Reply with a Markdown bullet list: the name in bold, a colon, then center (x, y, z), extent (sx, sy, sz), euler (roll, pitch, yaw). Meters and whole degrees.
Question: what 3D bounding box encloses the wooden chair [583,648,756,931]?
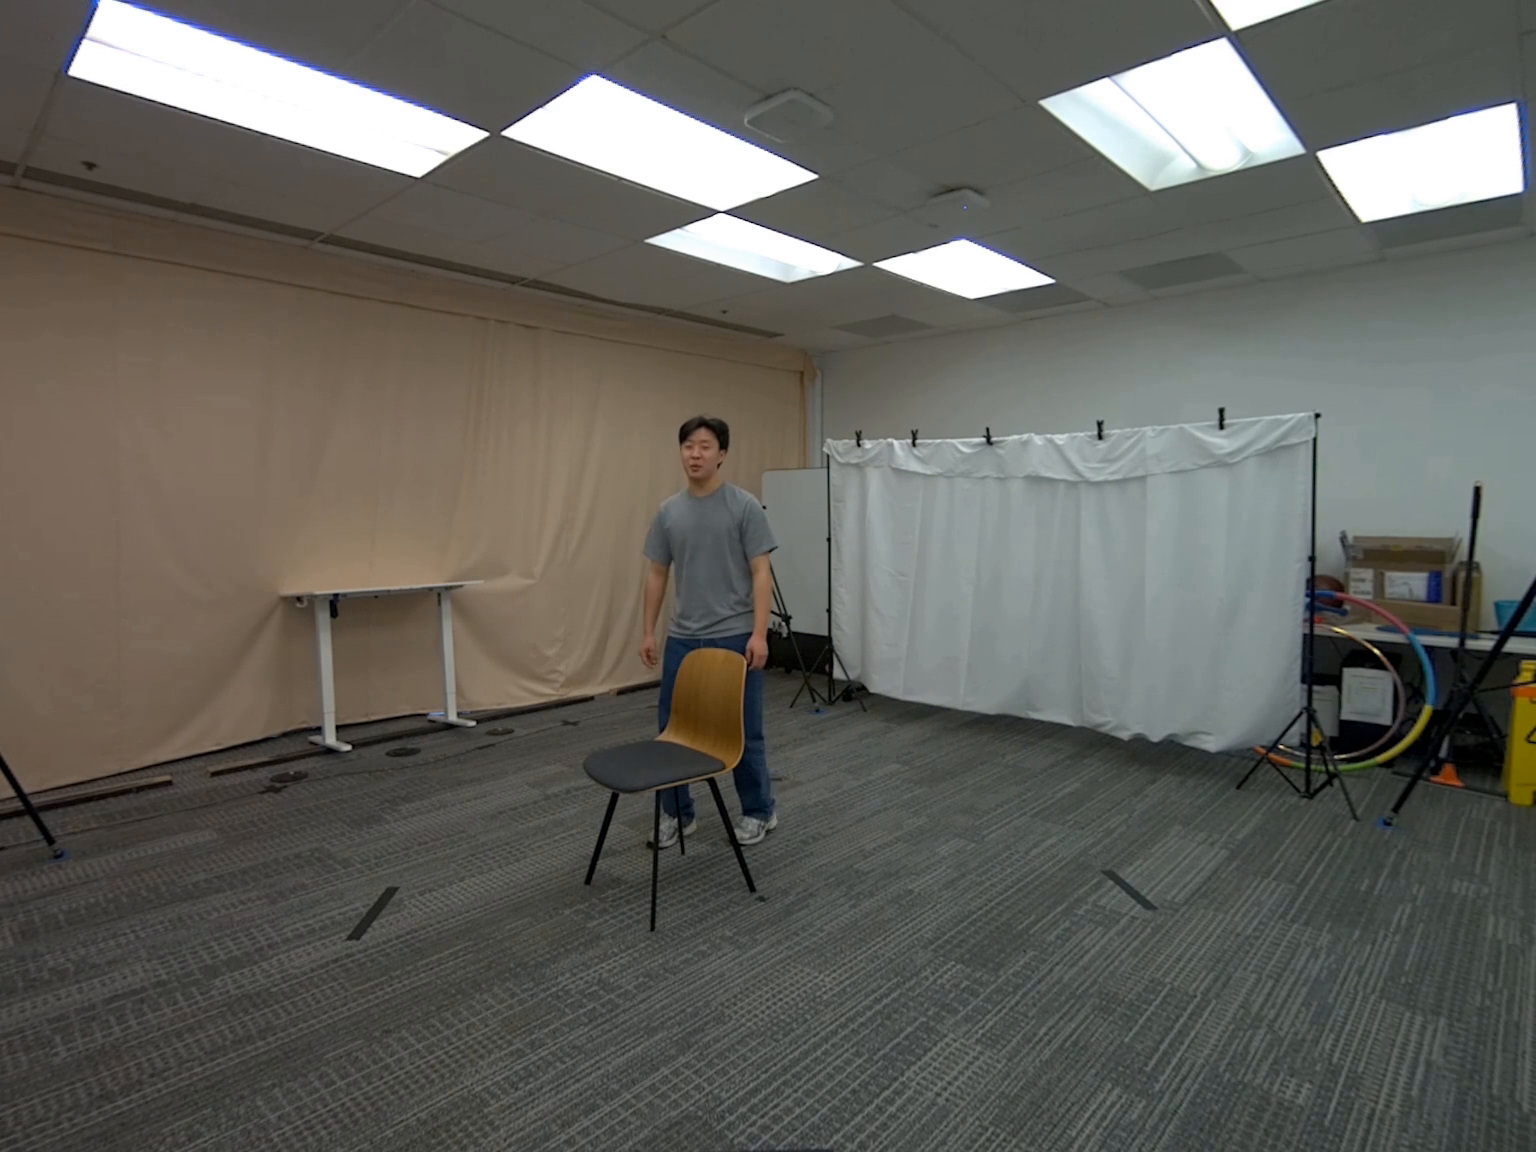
- **wooden chair**: center (-0.364, 0.713, 3.035), extent (0.506, 0.877, 0.494), euler (3, 0, -40)
